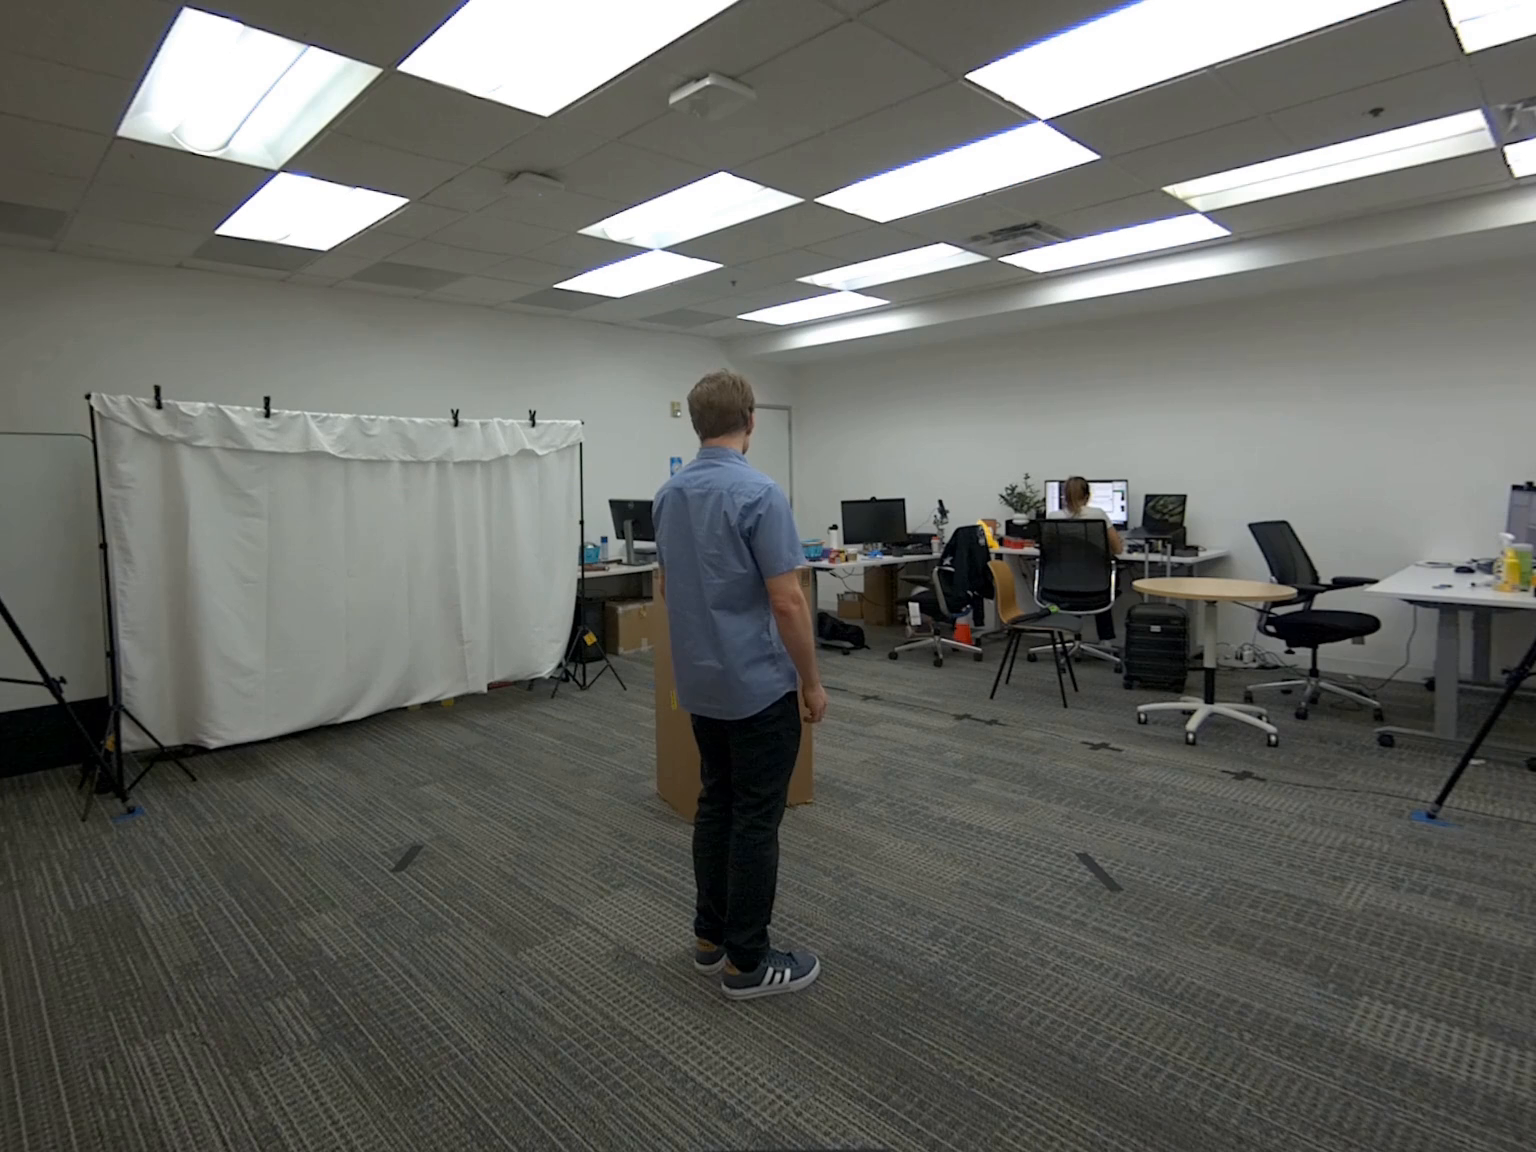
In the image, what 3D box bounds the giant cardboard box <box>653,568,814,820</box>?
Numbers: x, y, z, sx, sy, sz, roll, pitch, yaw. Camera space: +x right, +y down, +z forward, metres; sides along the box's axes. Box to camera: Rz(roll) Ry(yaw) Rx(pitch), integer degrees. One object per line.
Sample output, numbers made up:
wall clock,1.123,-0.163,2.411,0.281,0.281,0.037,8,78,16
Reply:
giant cardboard box,-0.159,0.468,3.747,0.565,1.023,0.436,-3,4,-26
